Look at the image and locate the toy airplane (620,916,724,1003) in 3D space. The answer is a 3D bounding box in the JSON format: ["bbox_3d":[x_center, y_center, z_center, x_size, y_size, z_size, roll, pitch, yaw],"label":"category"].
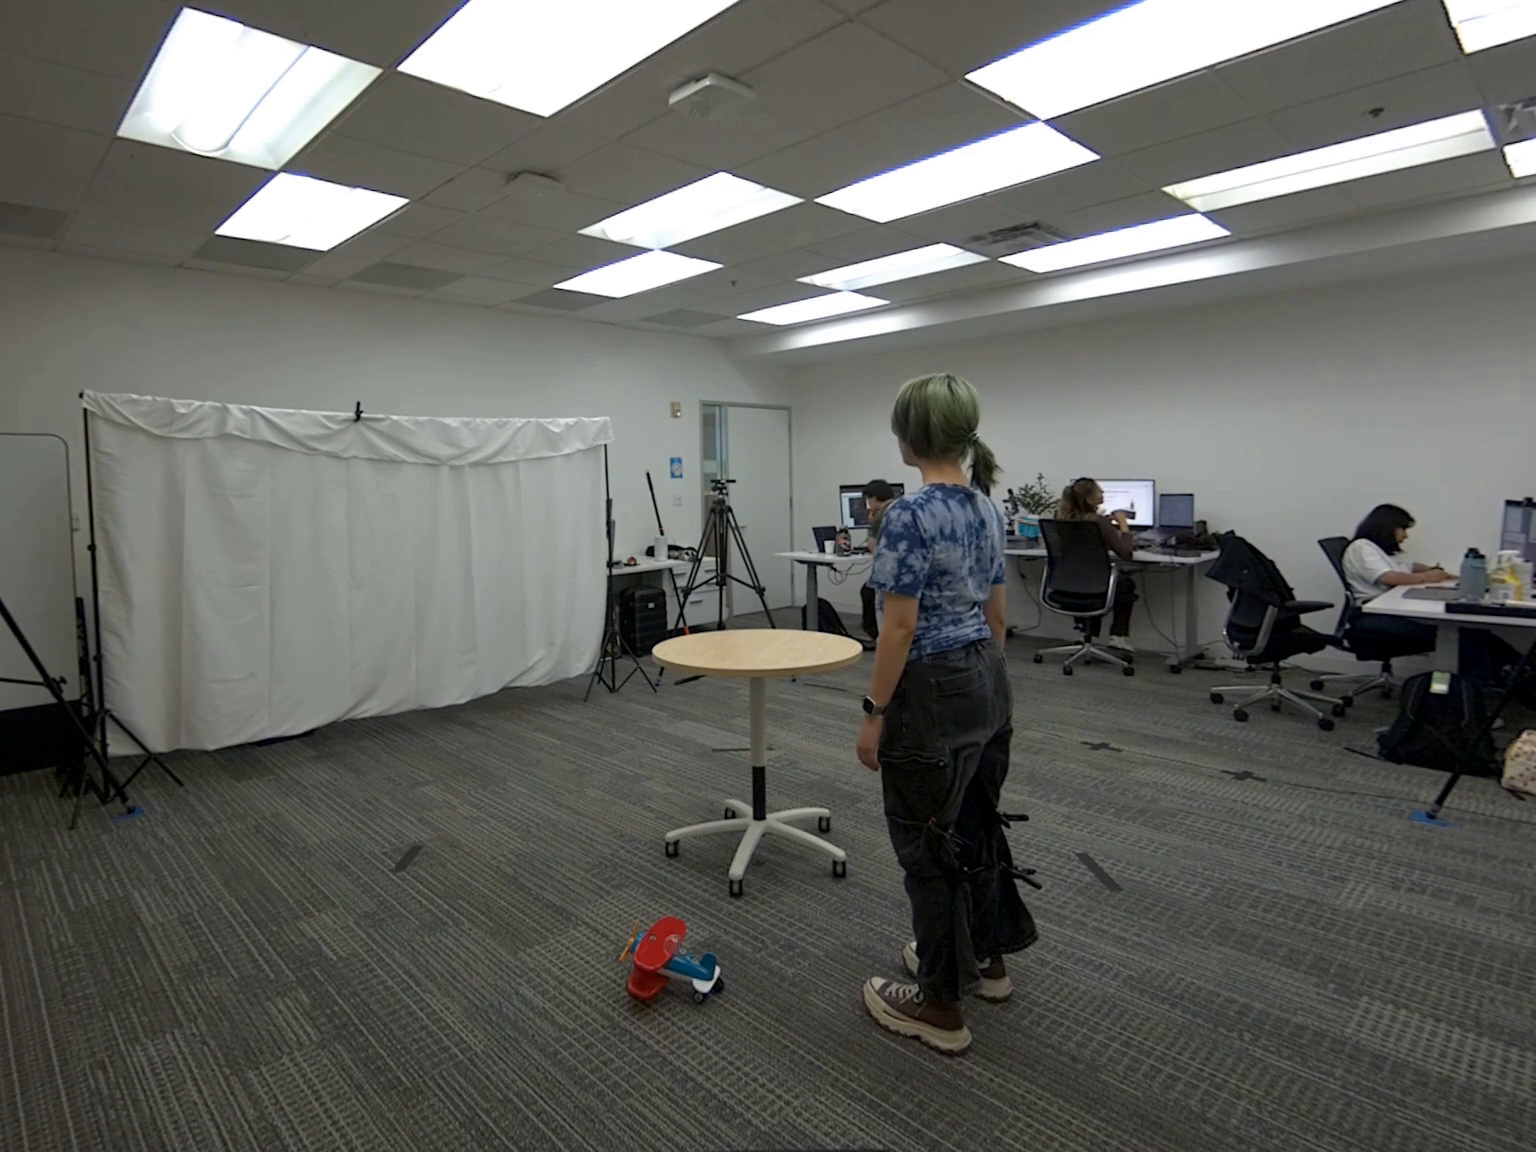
[{"bbox_3d":[-0.255,1.067,2.359,0.256,0.155,0.255,-4,7,-12],"label":"toy airplane"}]
